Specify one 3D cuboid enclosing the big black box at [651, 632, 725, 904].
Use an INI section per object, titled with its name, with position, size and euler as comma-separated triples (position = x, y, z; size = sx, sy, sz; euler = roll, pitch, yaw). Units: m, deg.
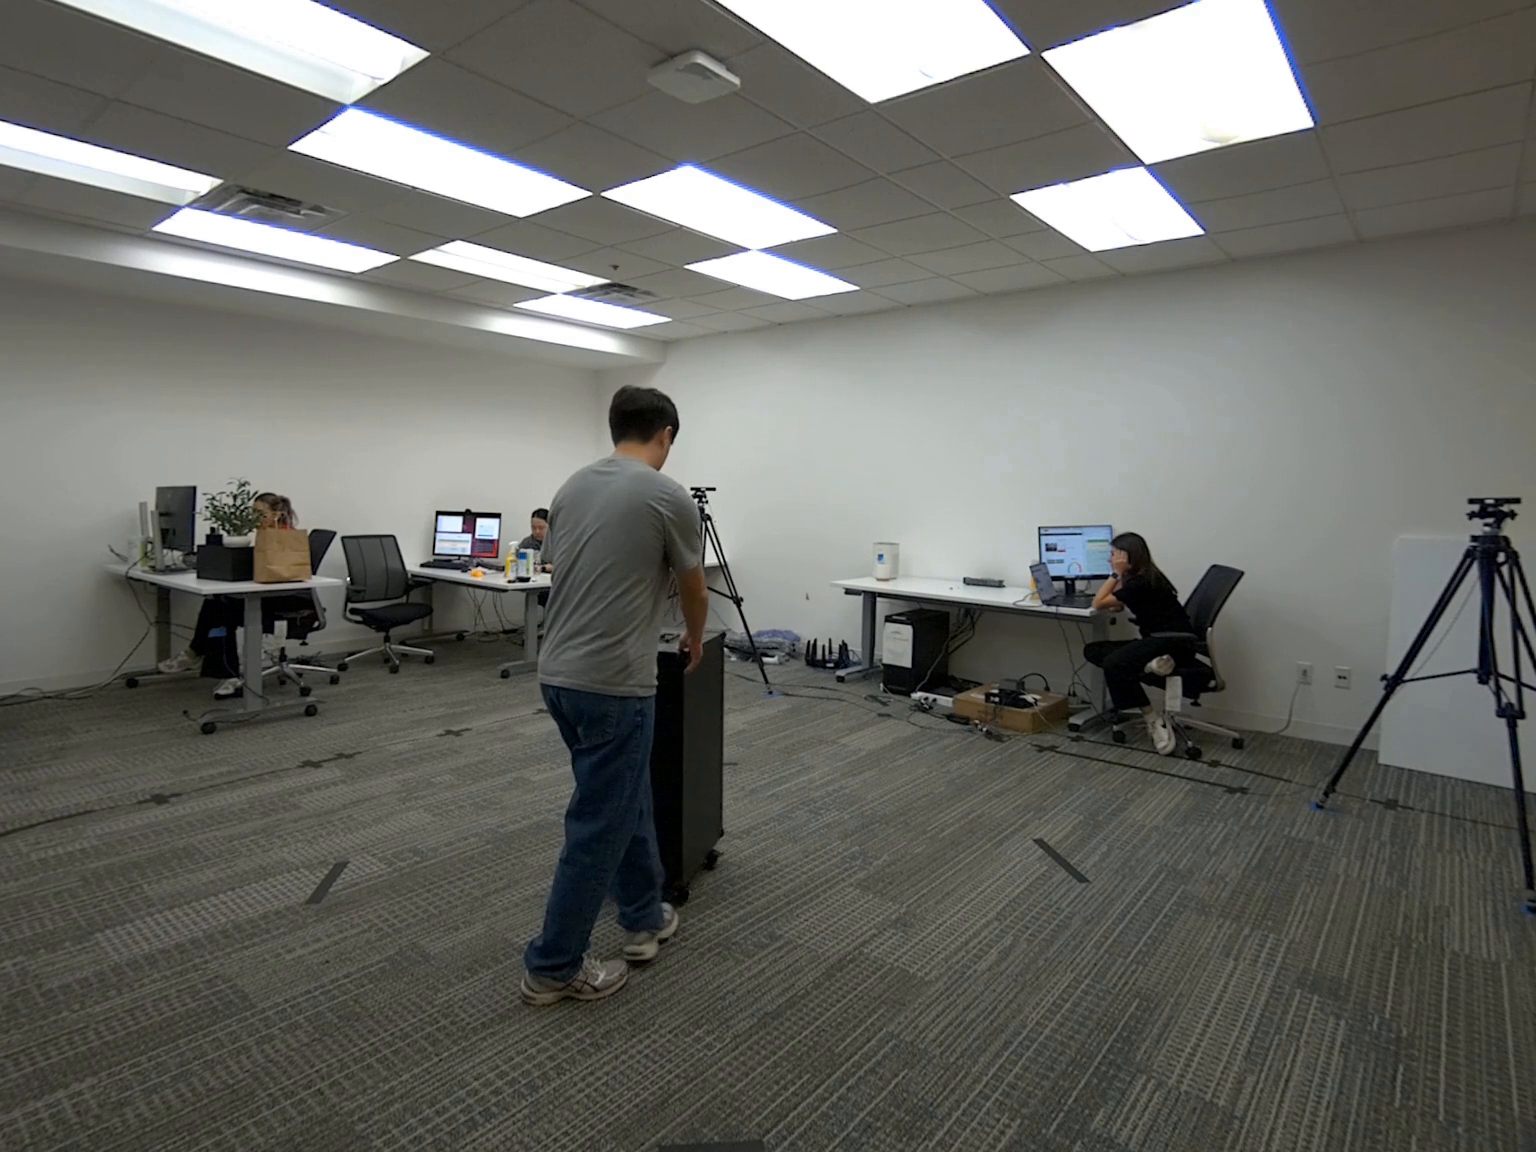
[big black box]
position = -0.408, 0.649, 3.033
size = 0.403, 0.860, 0.513
euler = 0, 3, 16
